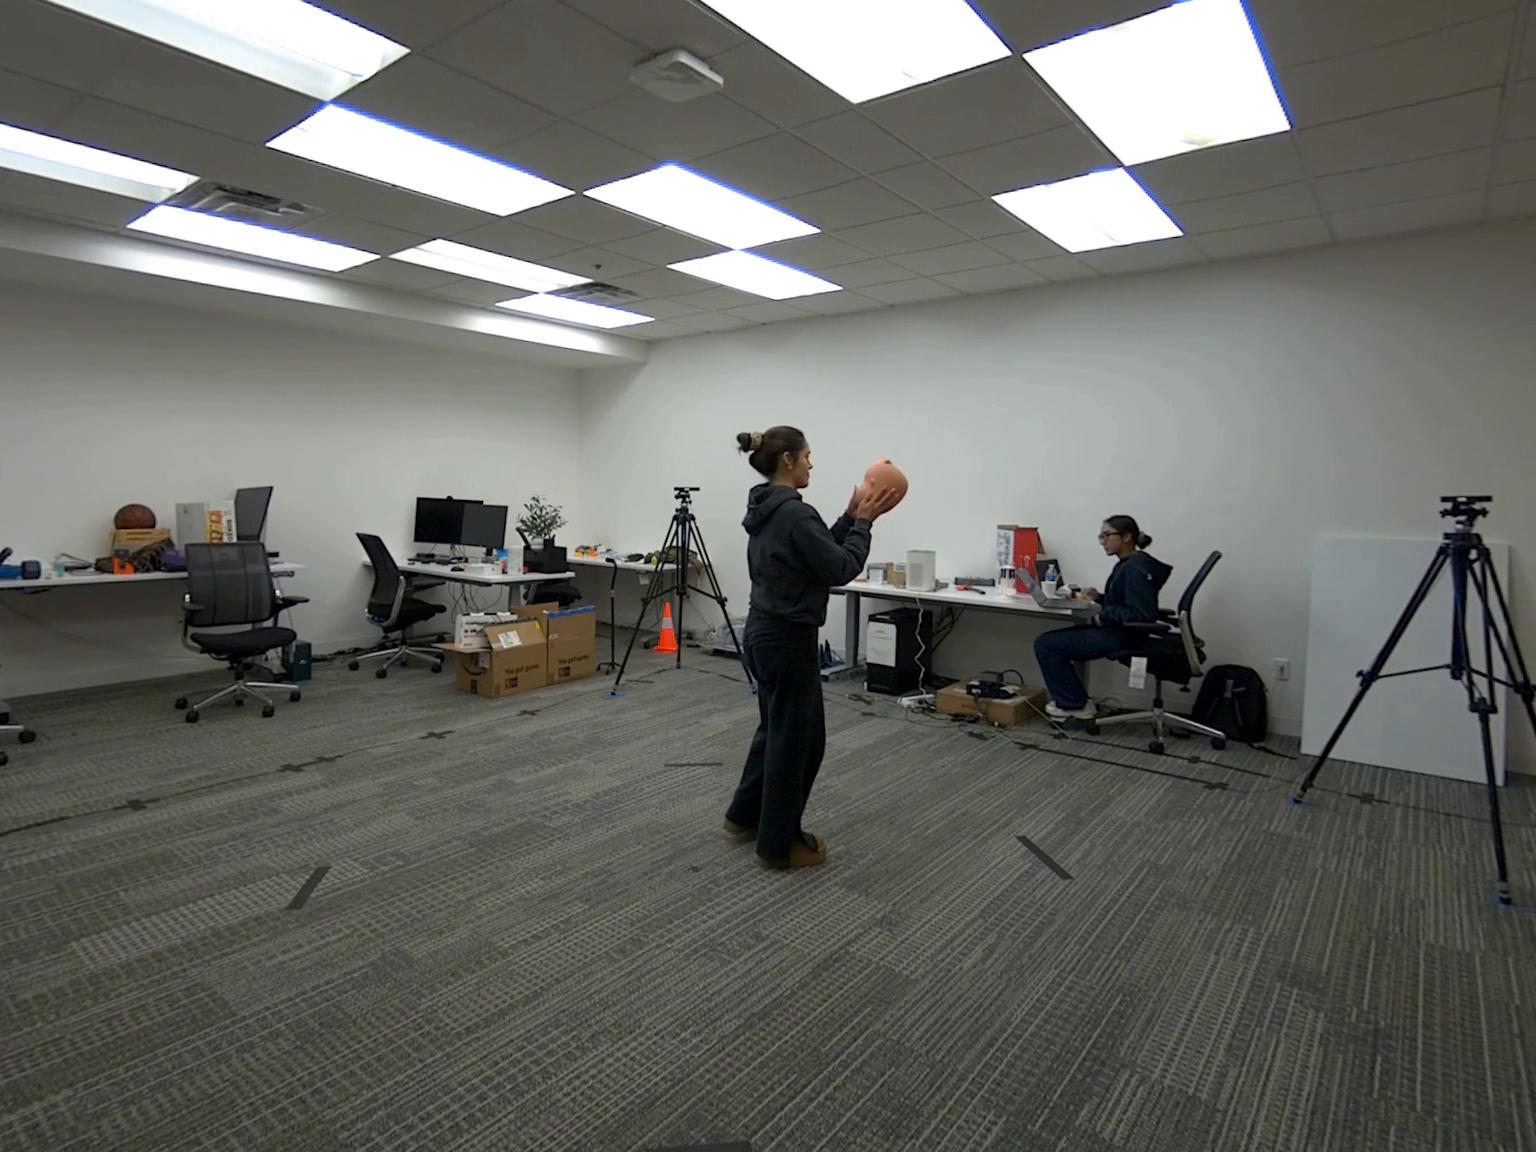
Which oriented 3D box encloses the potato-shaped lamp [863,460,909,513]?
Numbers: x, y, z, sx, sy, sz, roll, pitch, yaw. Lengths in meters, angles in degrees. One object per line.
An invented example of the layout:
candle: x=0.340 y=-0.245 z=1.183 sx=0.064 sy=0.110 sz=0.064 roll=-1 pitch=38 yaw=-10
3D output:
potato-shaped lamp: x=0.410 y=-0.321 z=3.181 sx=0.169 sy=0.198 sz=0.167 roll=45 pitch=3 yaw=-11
